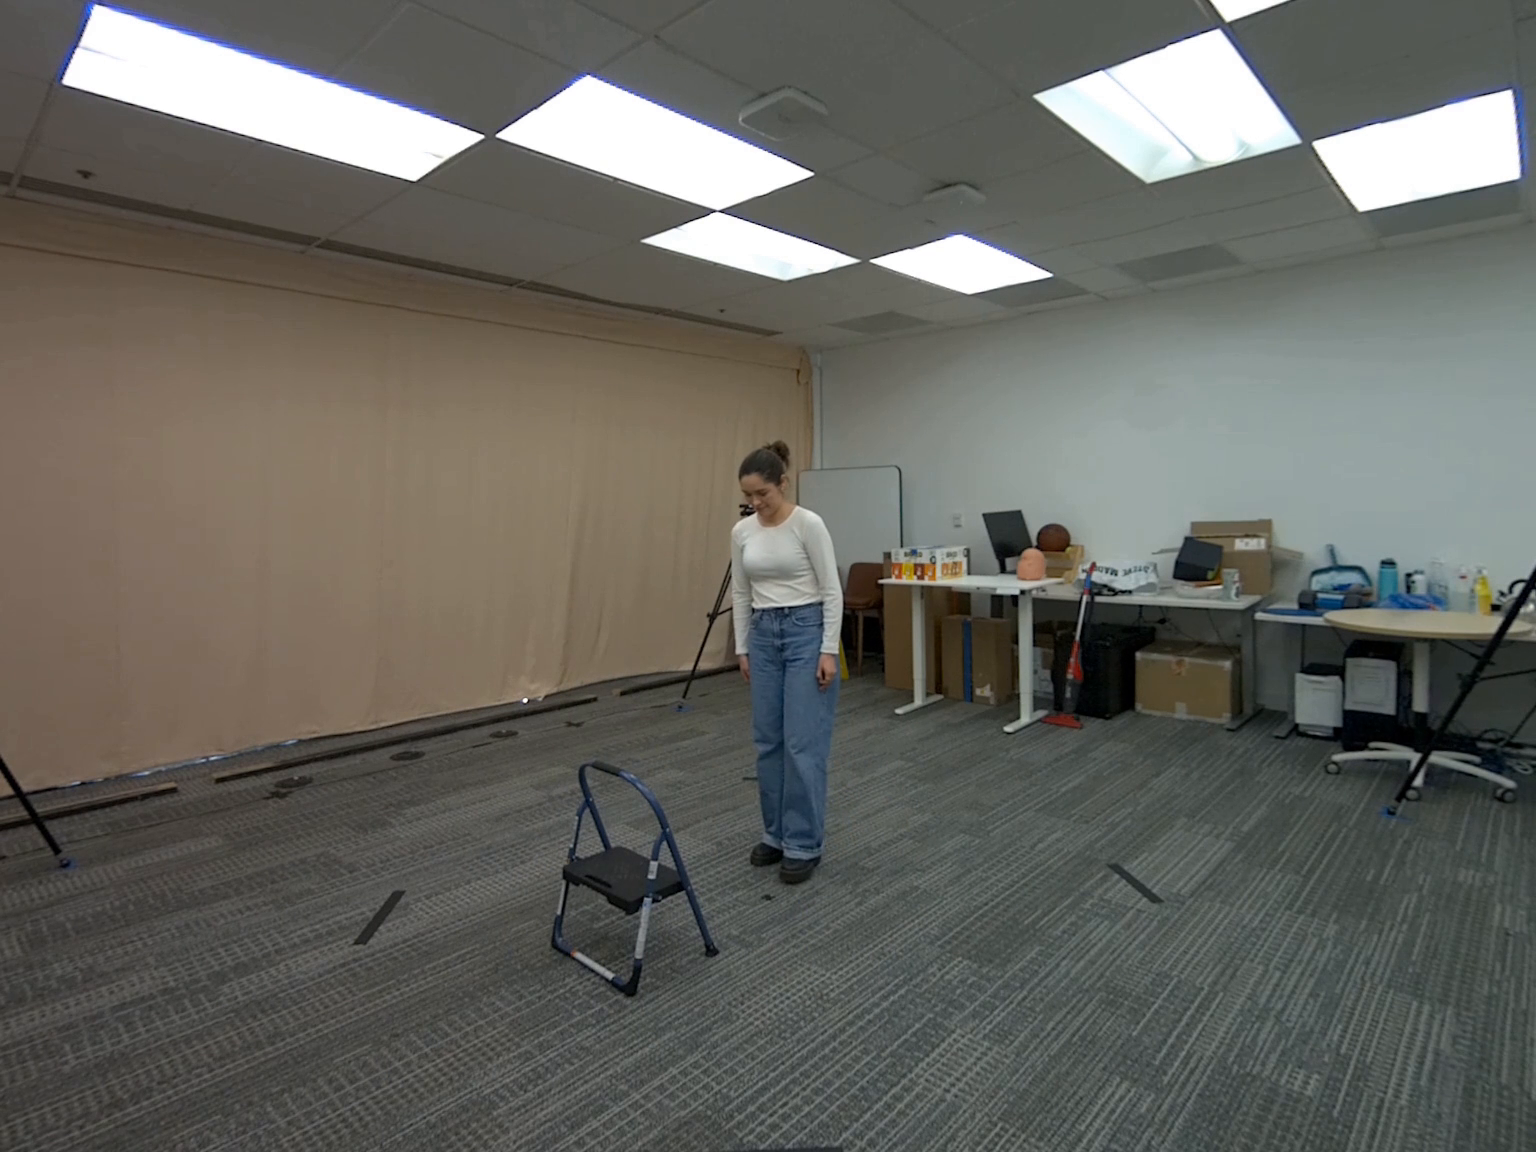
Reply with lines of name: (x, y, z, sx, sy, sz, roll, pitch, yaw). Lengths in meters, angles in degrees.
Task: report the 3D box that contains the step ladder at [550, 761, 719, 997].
step ladder: (-0.429, 0.876, 2.636, 0.445, 0.605, 0.339, 2, 5, 43)
